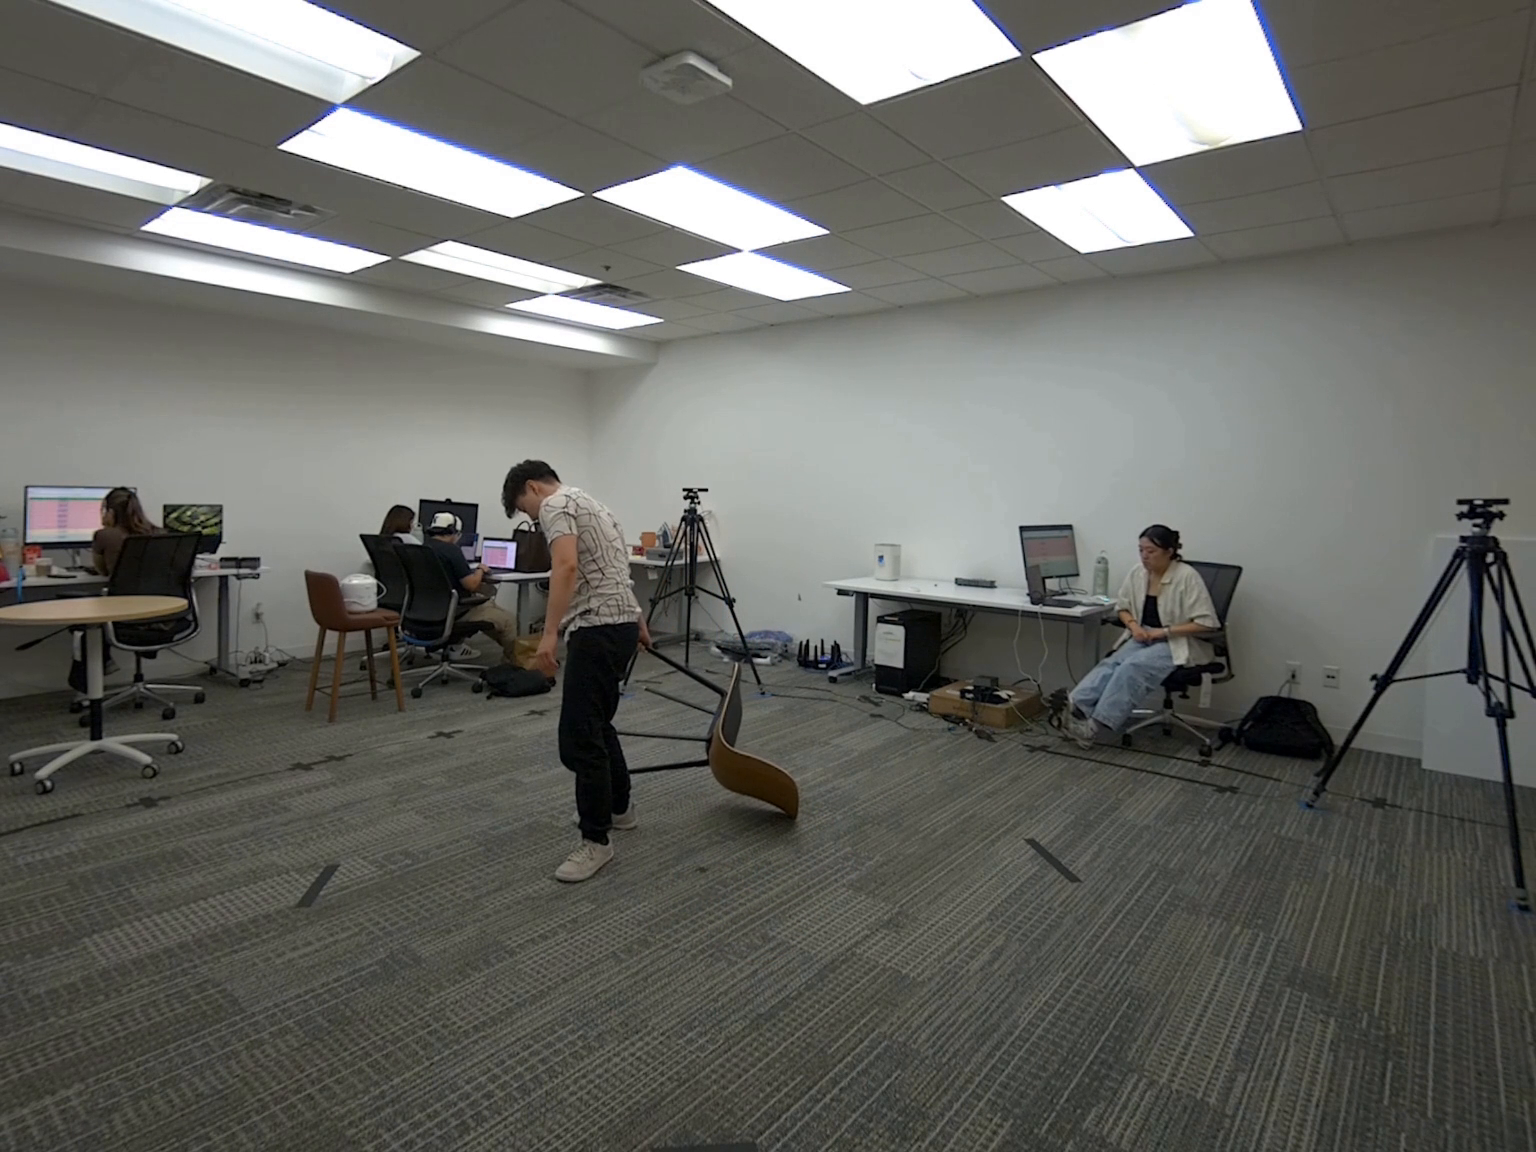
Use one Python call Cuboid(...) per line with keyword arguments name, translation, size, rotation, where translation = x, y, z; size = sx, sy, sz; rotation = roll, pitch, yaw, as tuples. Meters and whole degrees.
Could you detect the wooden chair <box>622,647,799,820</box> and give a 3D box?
Cuboid(name="wooden chair", translation=(-0.229, 0.667, 3.721), size=(0.893, 0.530, 0.464), rotation=(14, -36, 13))
